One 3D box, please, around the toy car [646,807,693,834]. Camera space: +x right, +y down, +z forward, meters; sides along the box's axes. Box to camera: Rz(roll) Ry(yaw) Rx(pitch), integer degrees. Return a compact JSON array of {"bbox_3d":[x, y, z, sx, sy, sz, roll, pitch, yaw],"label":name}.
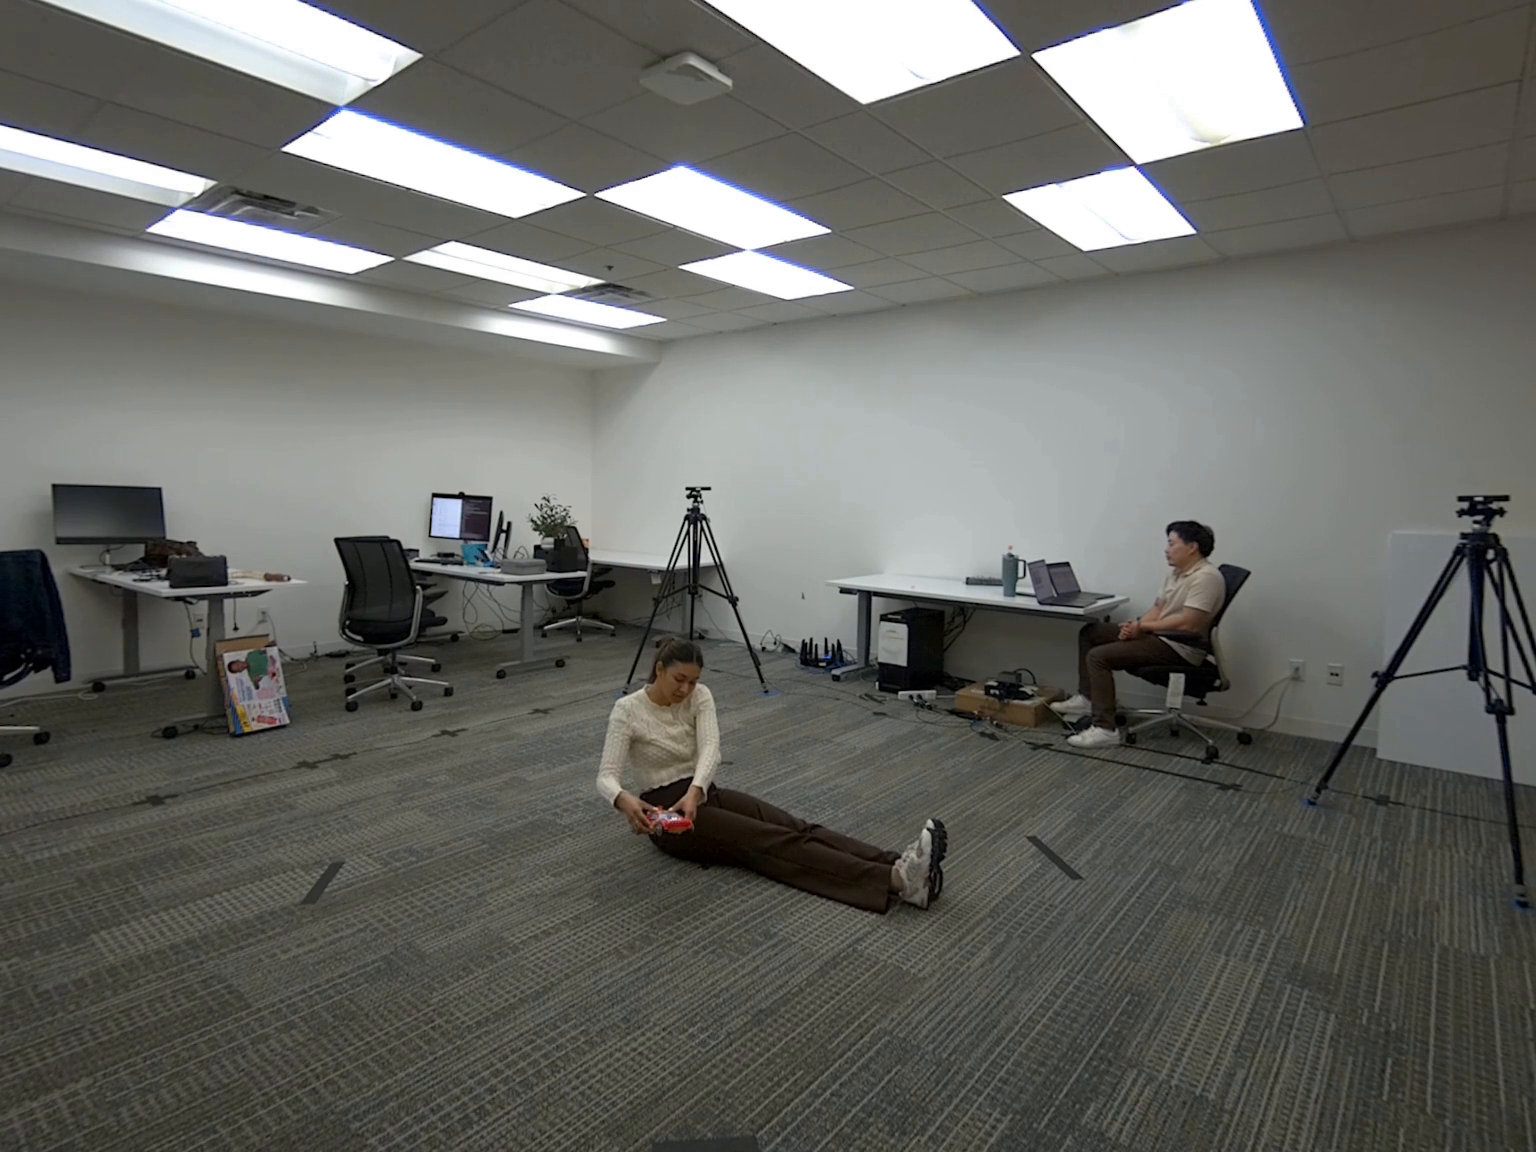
[{"bbox_3d":[-0.368,0.836,2.862,0.126,0.083,0.261,5,-3,-31],"label":"toy car"}]
